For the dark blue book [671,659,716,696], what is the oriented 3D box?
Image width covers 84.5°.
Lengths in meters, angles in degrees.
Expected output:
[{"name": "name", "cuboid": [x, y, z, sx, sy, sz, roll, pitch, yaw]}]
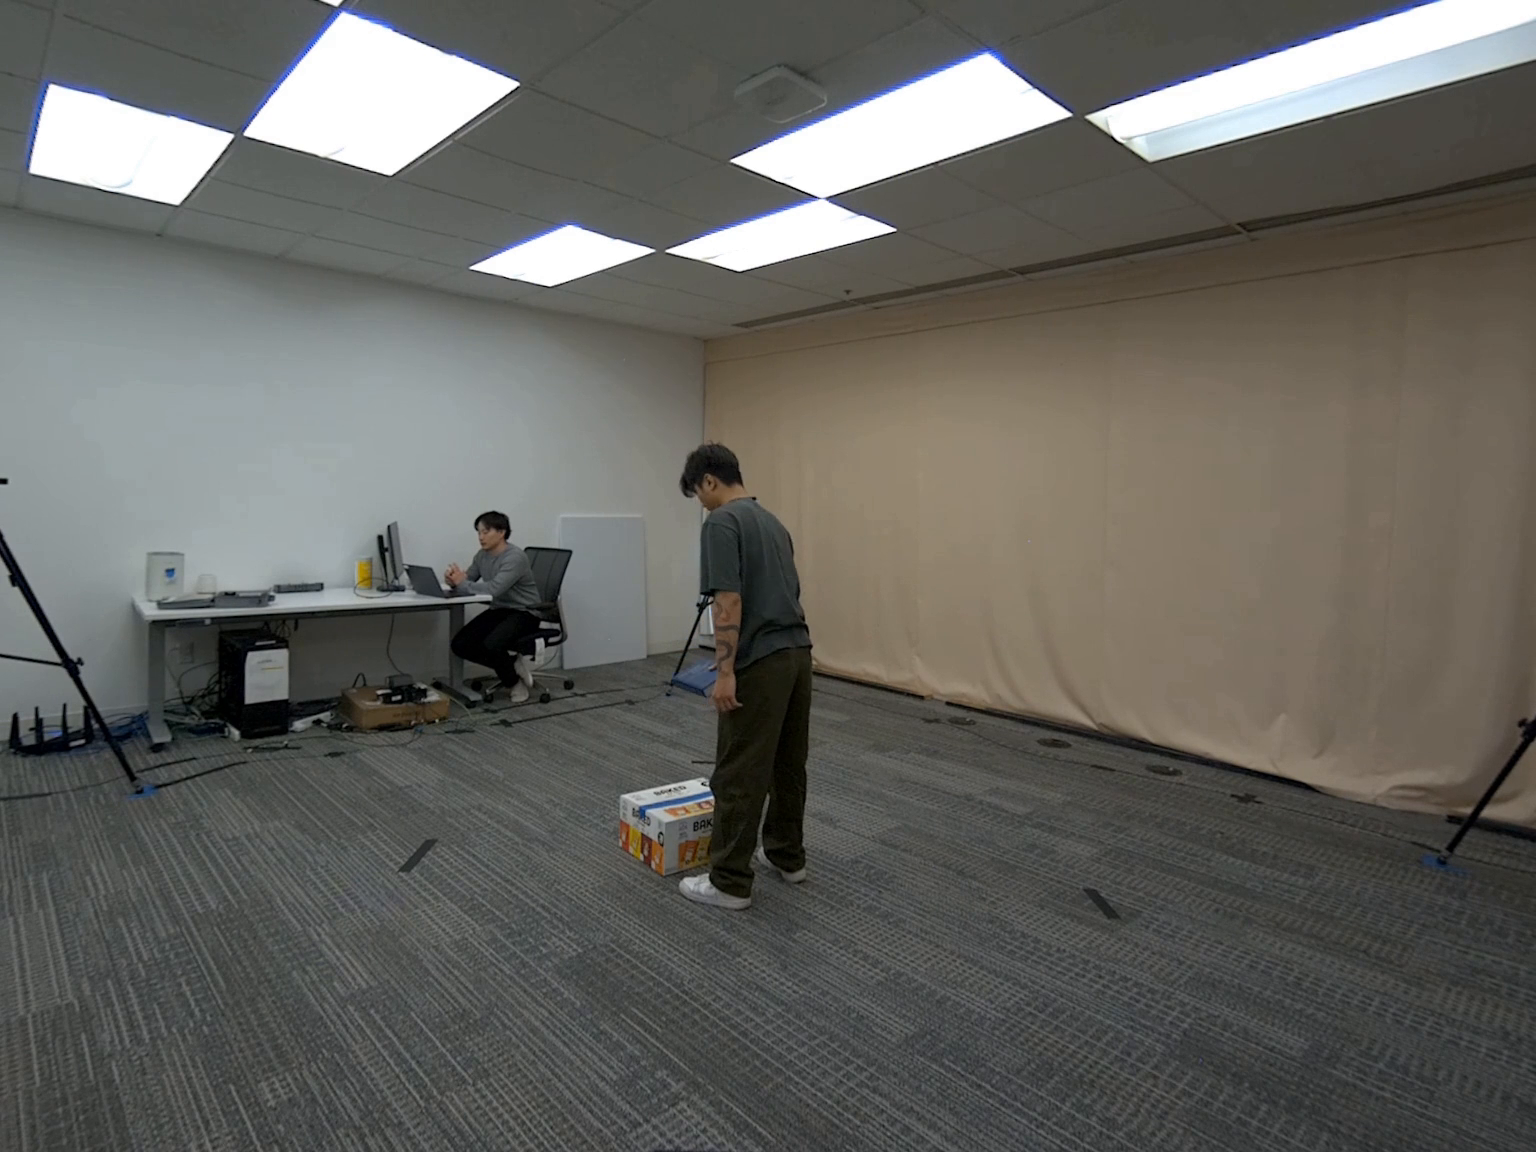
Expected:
[{"name": "dark blue book", "cuboid": [-0.272, 0.405, 3.295, 0.162, 0.044, 0.251, -27, 18, -21]}]
